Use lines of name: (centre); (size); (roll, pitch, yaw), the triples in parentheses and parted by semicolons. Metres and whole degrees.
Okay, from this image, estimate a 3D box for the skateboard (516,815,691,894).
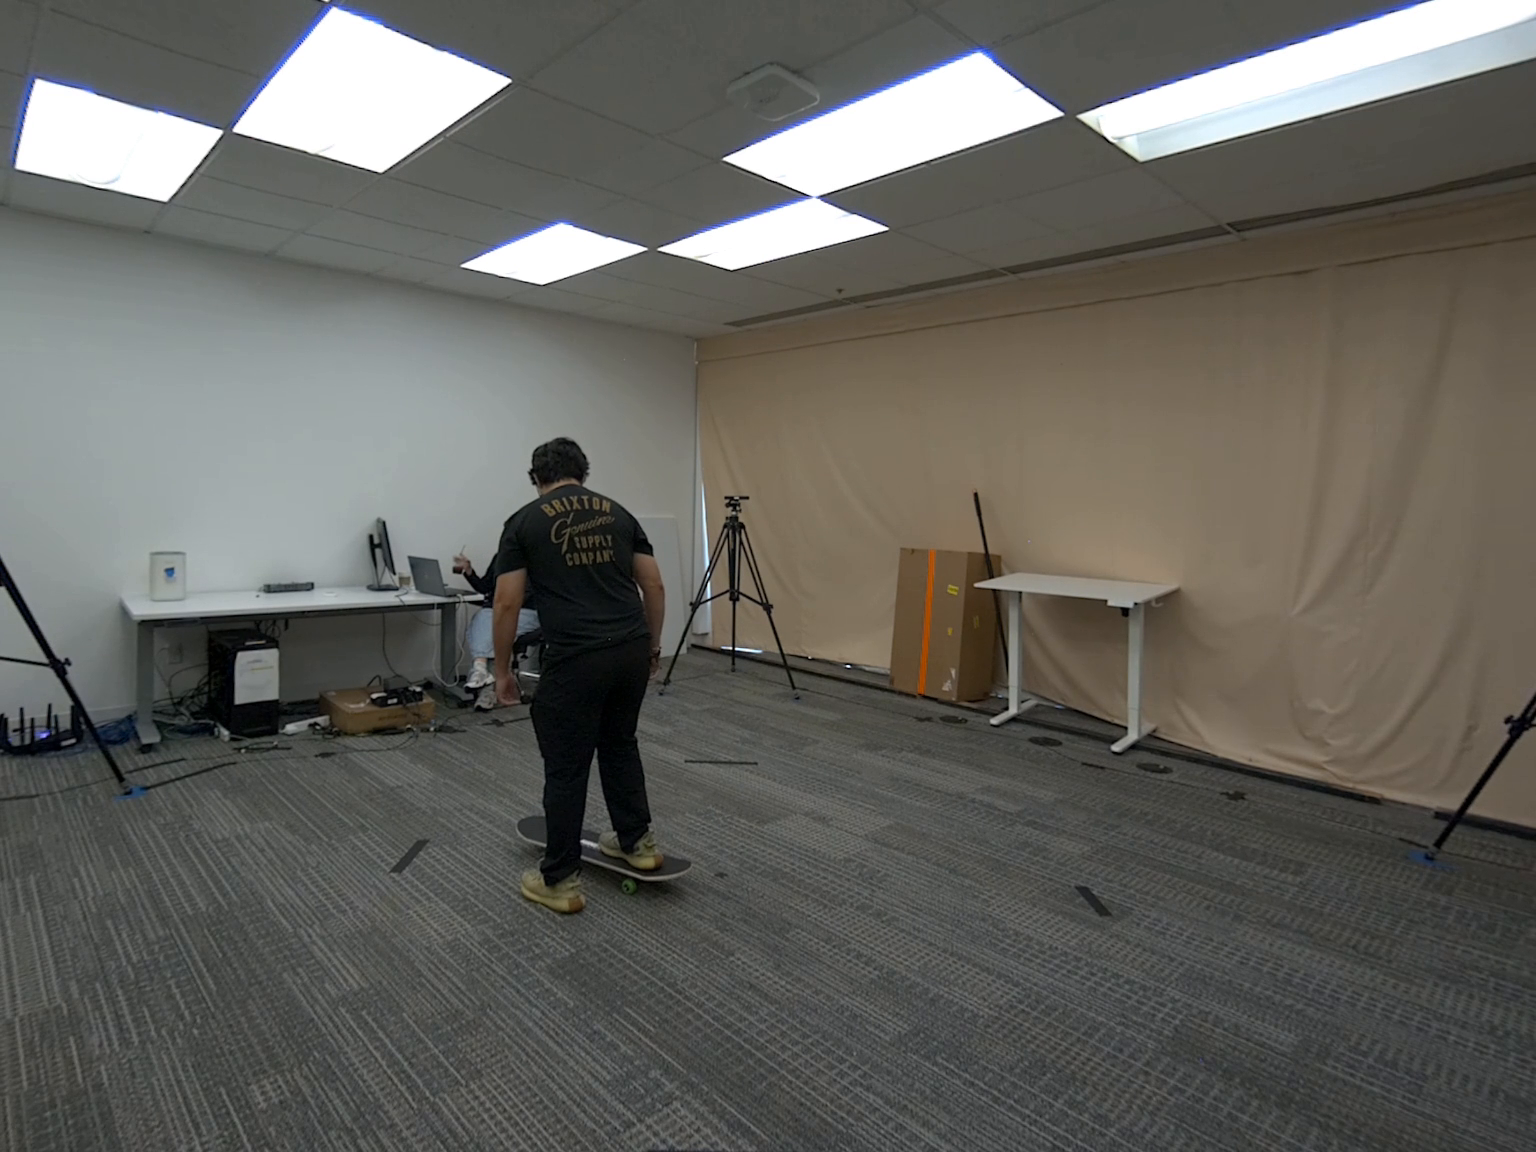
skateboard: (-0.635, 1.043, 3.110); (0.803, 0.110, 0.190); (5, 7, 31)
